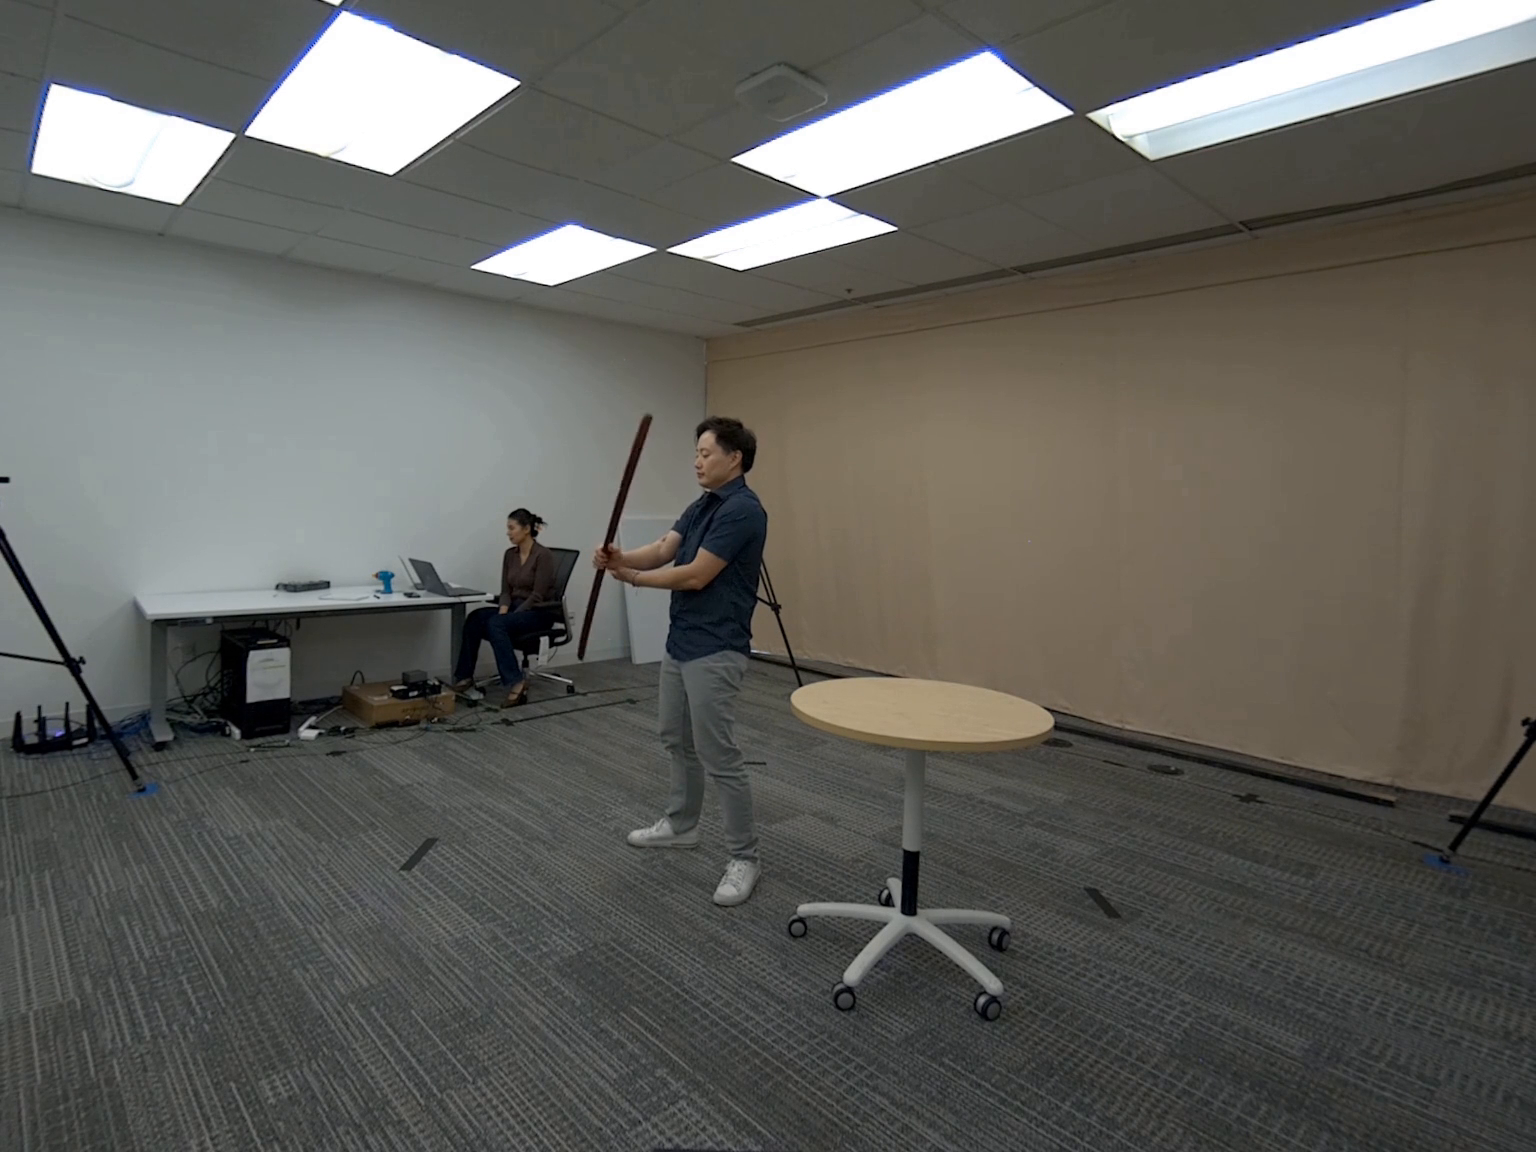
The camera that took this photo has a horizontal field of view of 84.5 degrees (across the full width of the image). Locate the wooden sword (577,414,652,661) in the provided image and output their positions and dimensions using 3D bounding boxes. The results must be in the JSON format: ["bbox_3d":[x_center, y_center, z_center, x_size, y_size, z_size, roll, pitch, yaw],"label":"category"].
[{"bbox_3d":[-0.555,-0.100,2.887,0.050,1.013,0.025,-4,39,-34],"label":"wooden sword"}]
